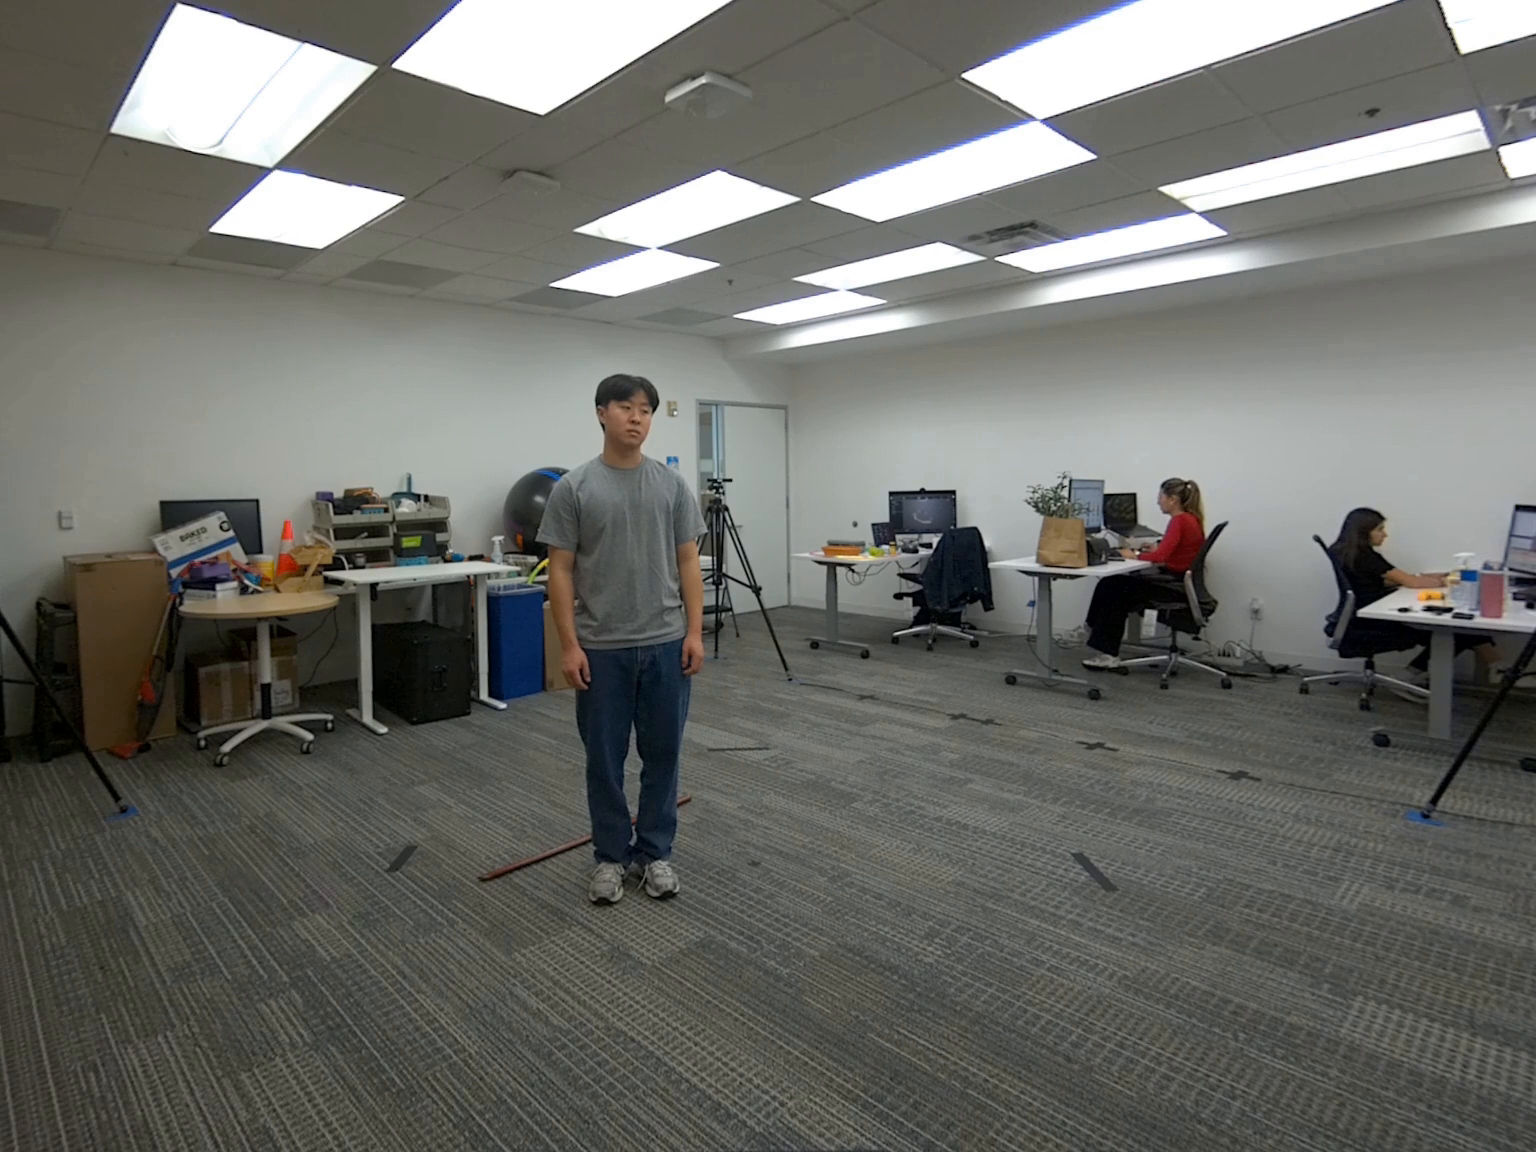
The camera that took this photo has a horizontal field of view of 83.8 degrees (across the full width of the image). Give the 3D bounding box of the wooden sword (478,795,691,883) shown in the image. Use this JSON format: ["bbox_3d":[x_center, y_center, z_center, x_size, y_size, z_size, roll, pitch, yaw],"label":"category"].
[{"bbox_3d":[-0.660,1.003,3.351,0.053,0.024,0.998,10,12,41],"label":"wooden sword"}]
